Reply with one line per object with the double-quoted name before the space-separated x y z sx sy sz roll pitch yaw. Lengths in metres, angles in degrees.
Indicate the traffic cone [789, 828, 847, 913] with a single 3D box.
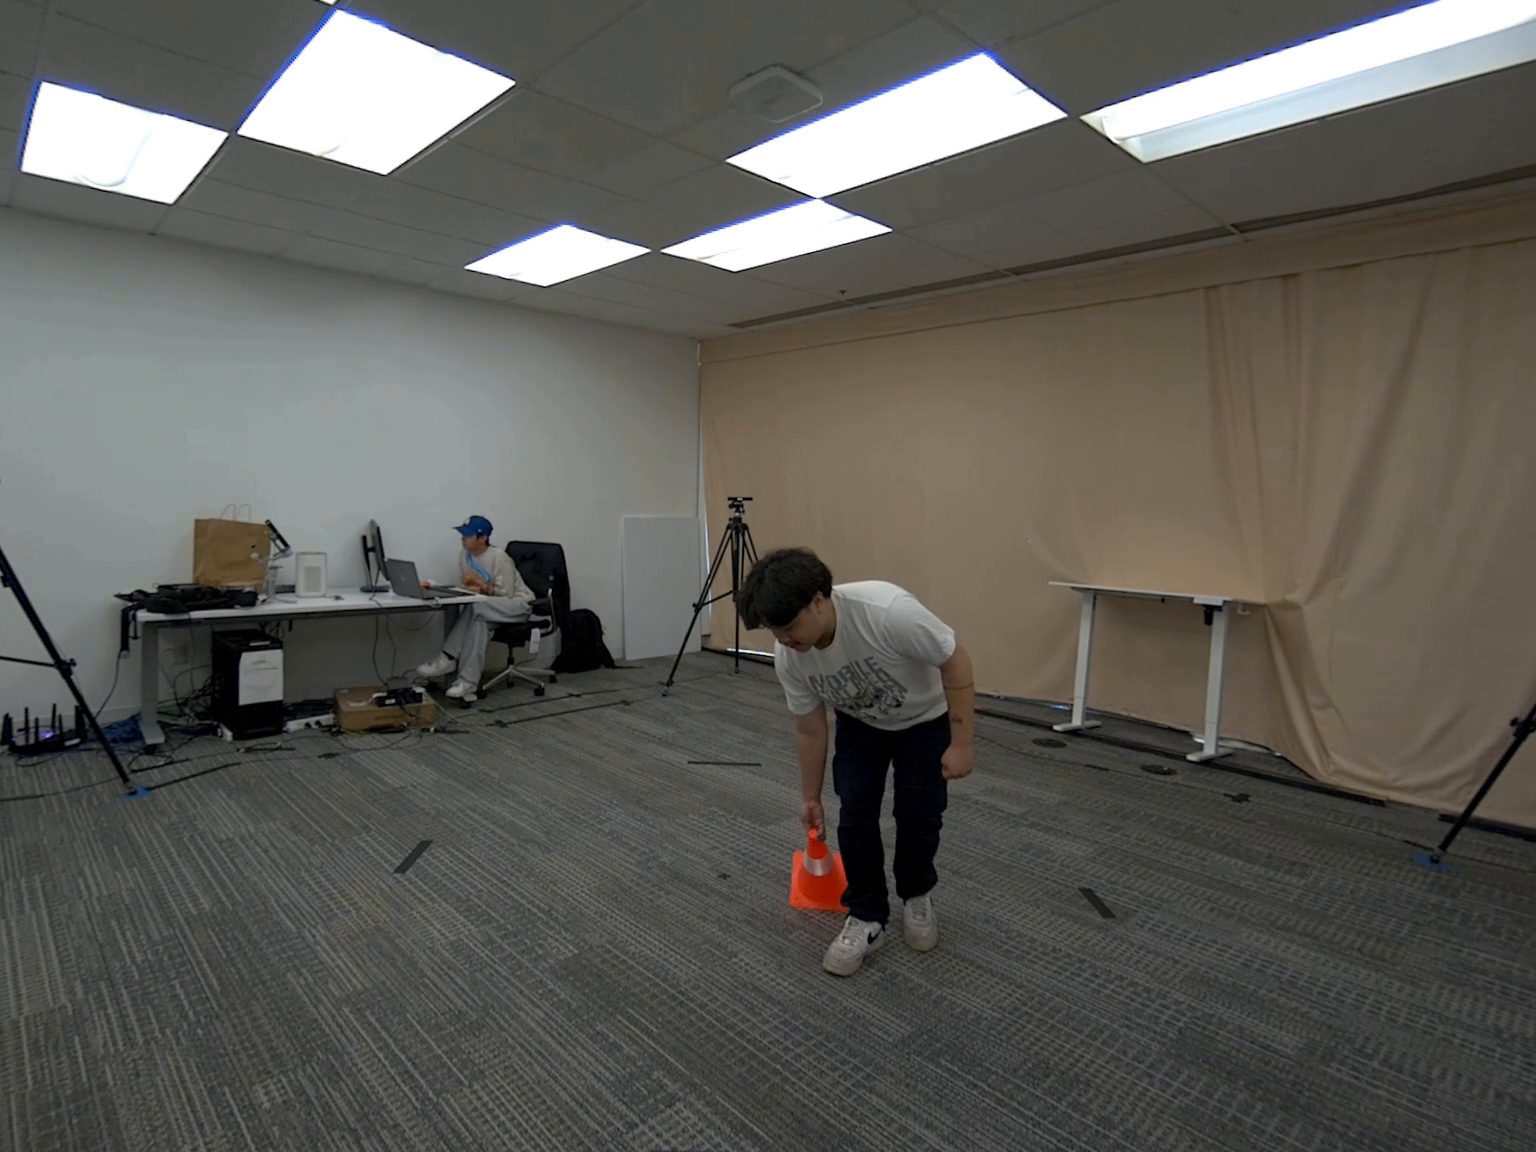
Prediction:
"traffic cone" 0.157 0.940 2.802 0.207 0.374 0.206 4 48 11
